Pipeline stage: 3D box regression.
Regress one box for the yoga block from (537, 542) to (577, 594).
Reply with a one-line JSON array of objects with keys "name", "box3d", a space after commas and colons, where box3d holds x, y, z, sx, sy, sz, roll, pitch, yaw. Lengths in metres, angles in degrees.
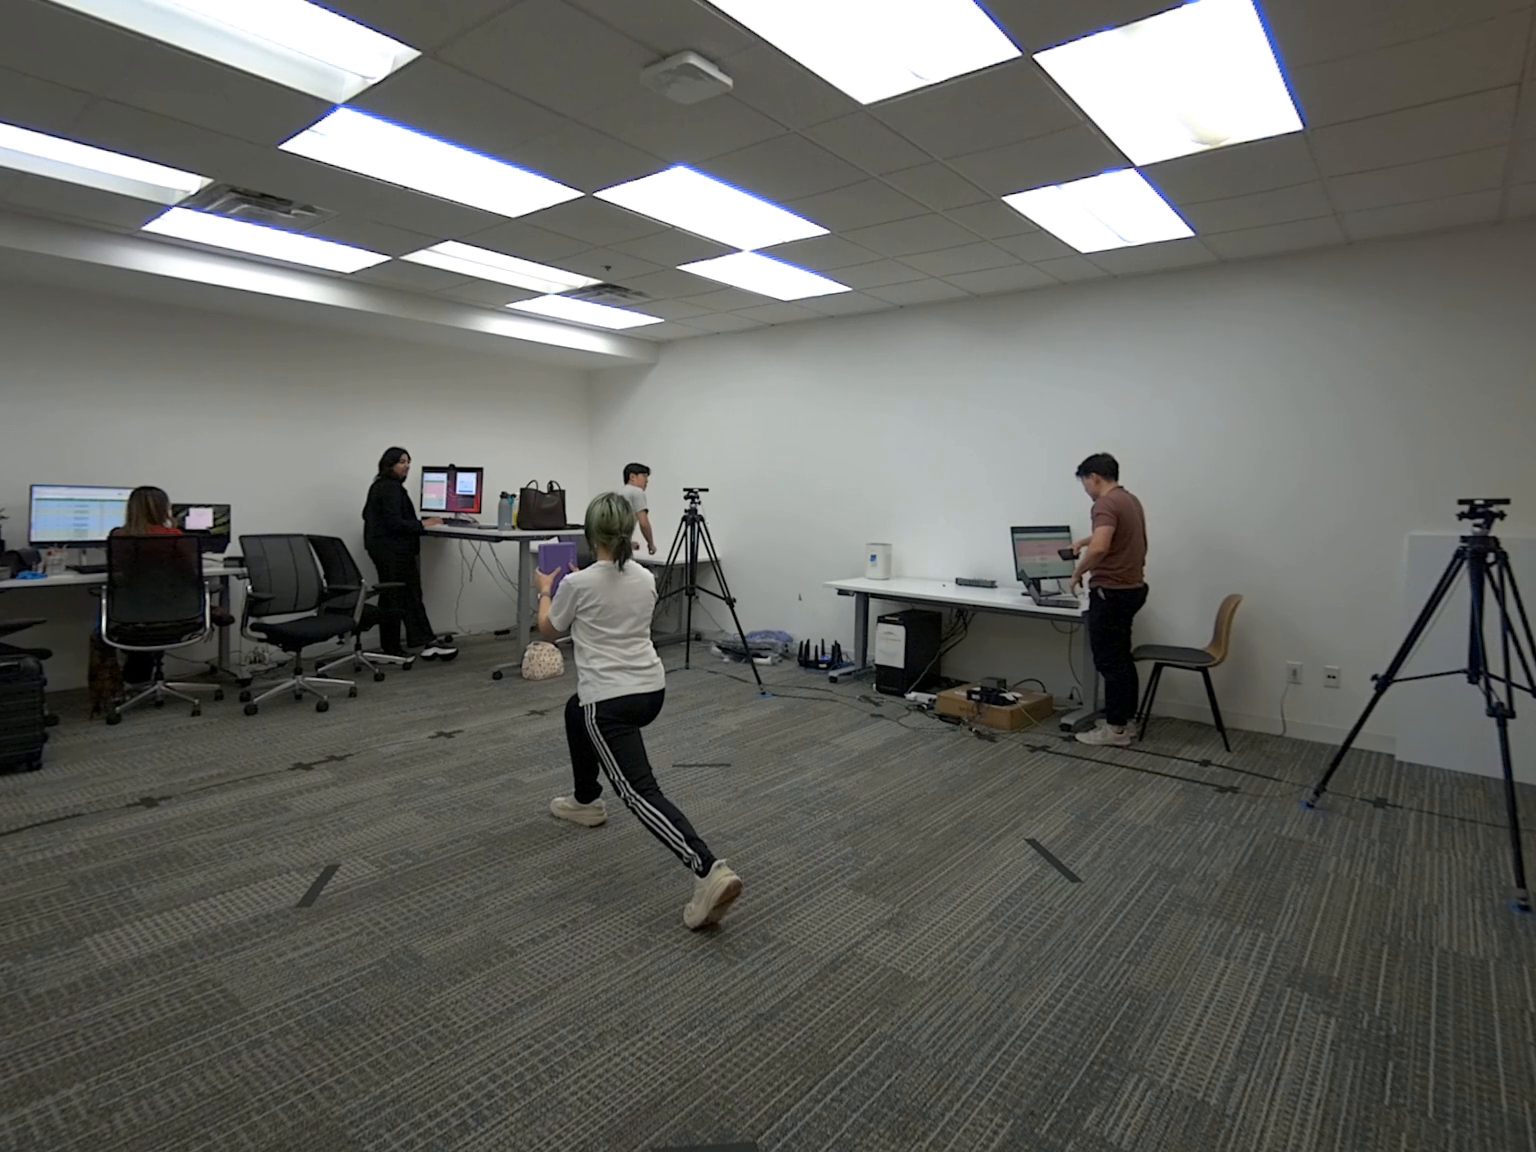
[{"name": "yoga block", "box3d": [-0.918, -0.034, 3.646, 0.145, 0.229, 0.078, -2, 1, -34]}]
